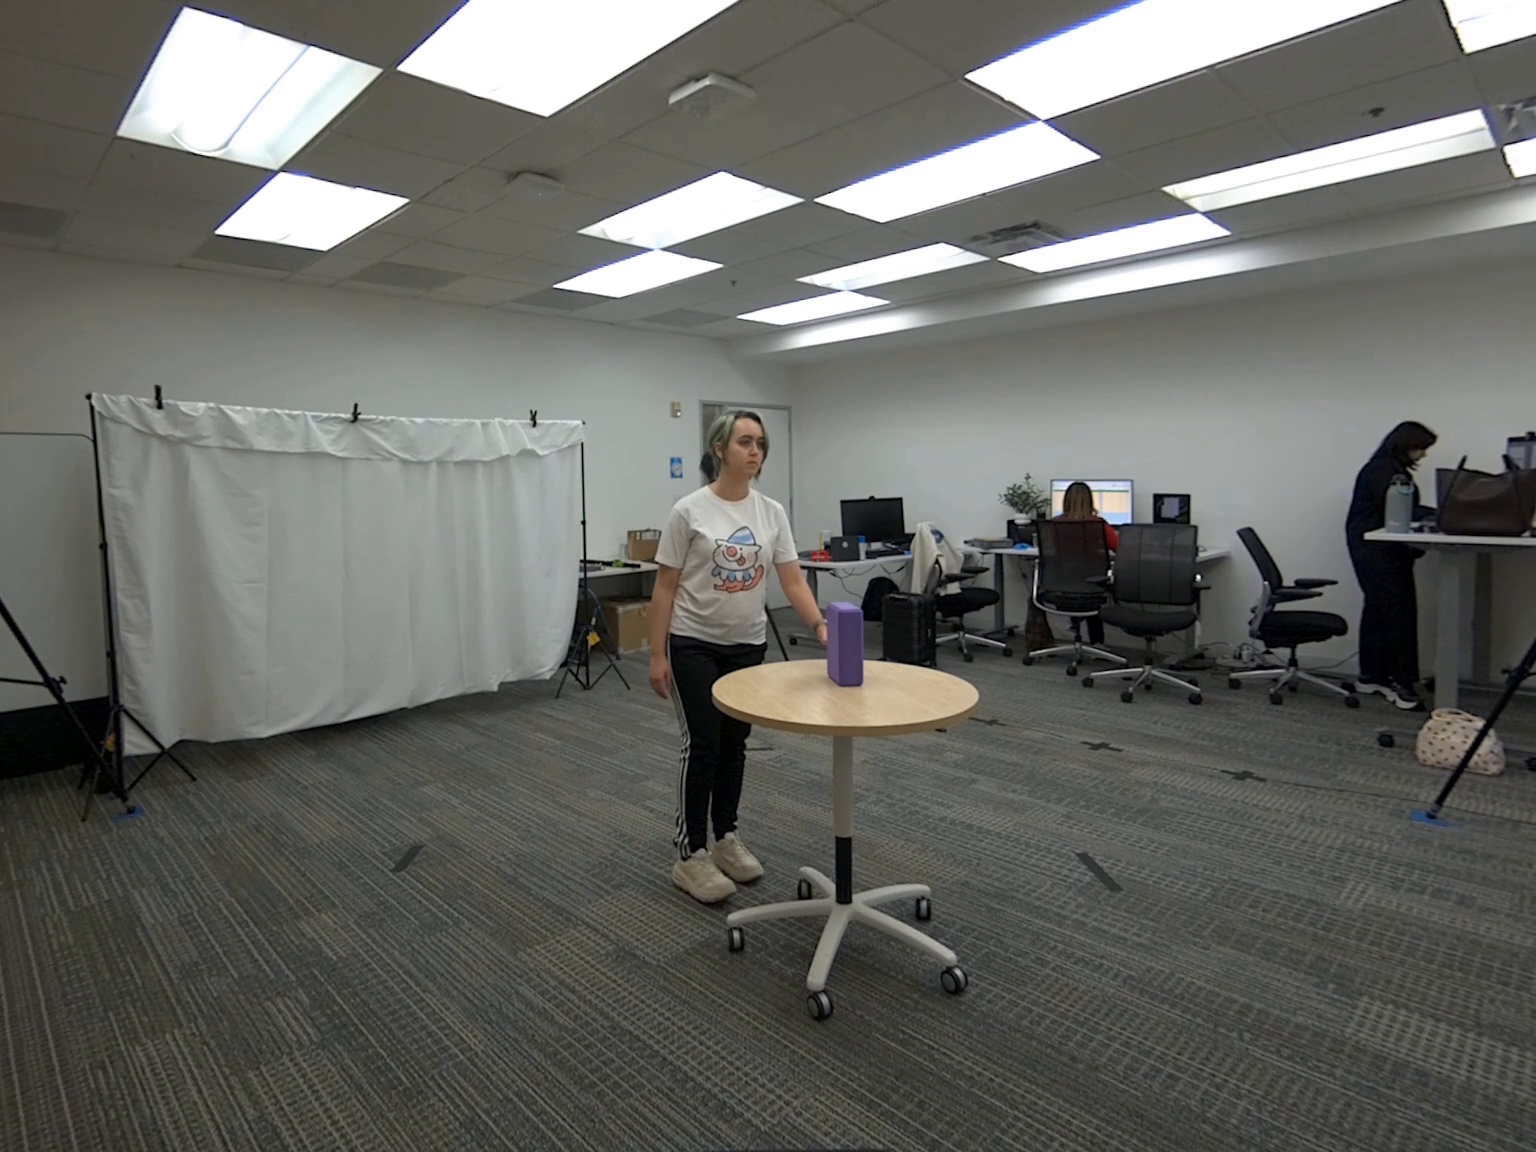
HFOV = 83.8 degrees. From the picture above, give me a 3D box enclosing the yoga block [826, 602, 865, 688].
[{"bbox_3d":[0.239,0.205,2.564,0.076,0.228,0.150,-2,6,-5],"label":"yoga block"}]
